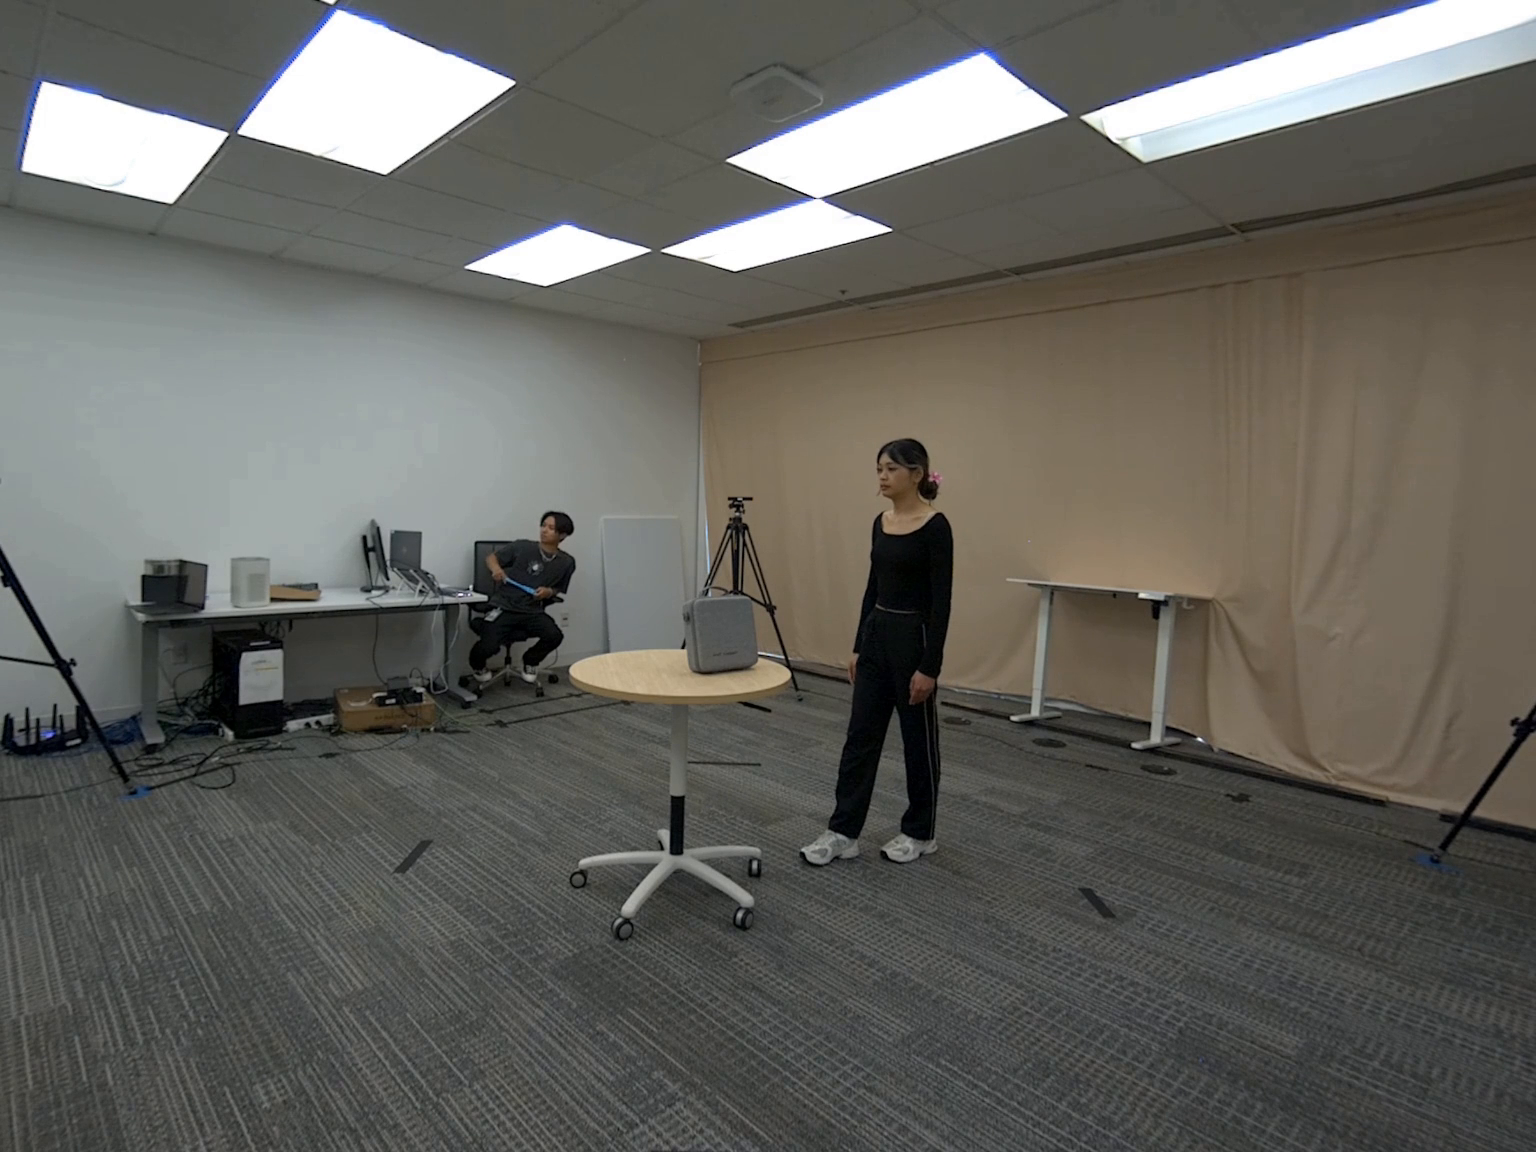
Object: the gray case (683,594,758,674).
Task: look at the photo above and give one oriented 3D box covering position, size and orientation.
[{"bbox_3d":[-0.172,0.198,2.946,0.251,0.262,0.106,-1,-8,-36],"label":"gray case"}]
